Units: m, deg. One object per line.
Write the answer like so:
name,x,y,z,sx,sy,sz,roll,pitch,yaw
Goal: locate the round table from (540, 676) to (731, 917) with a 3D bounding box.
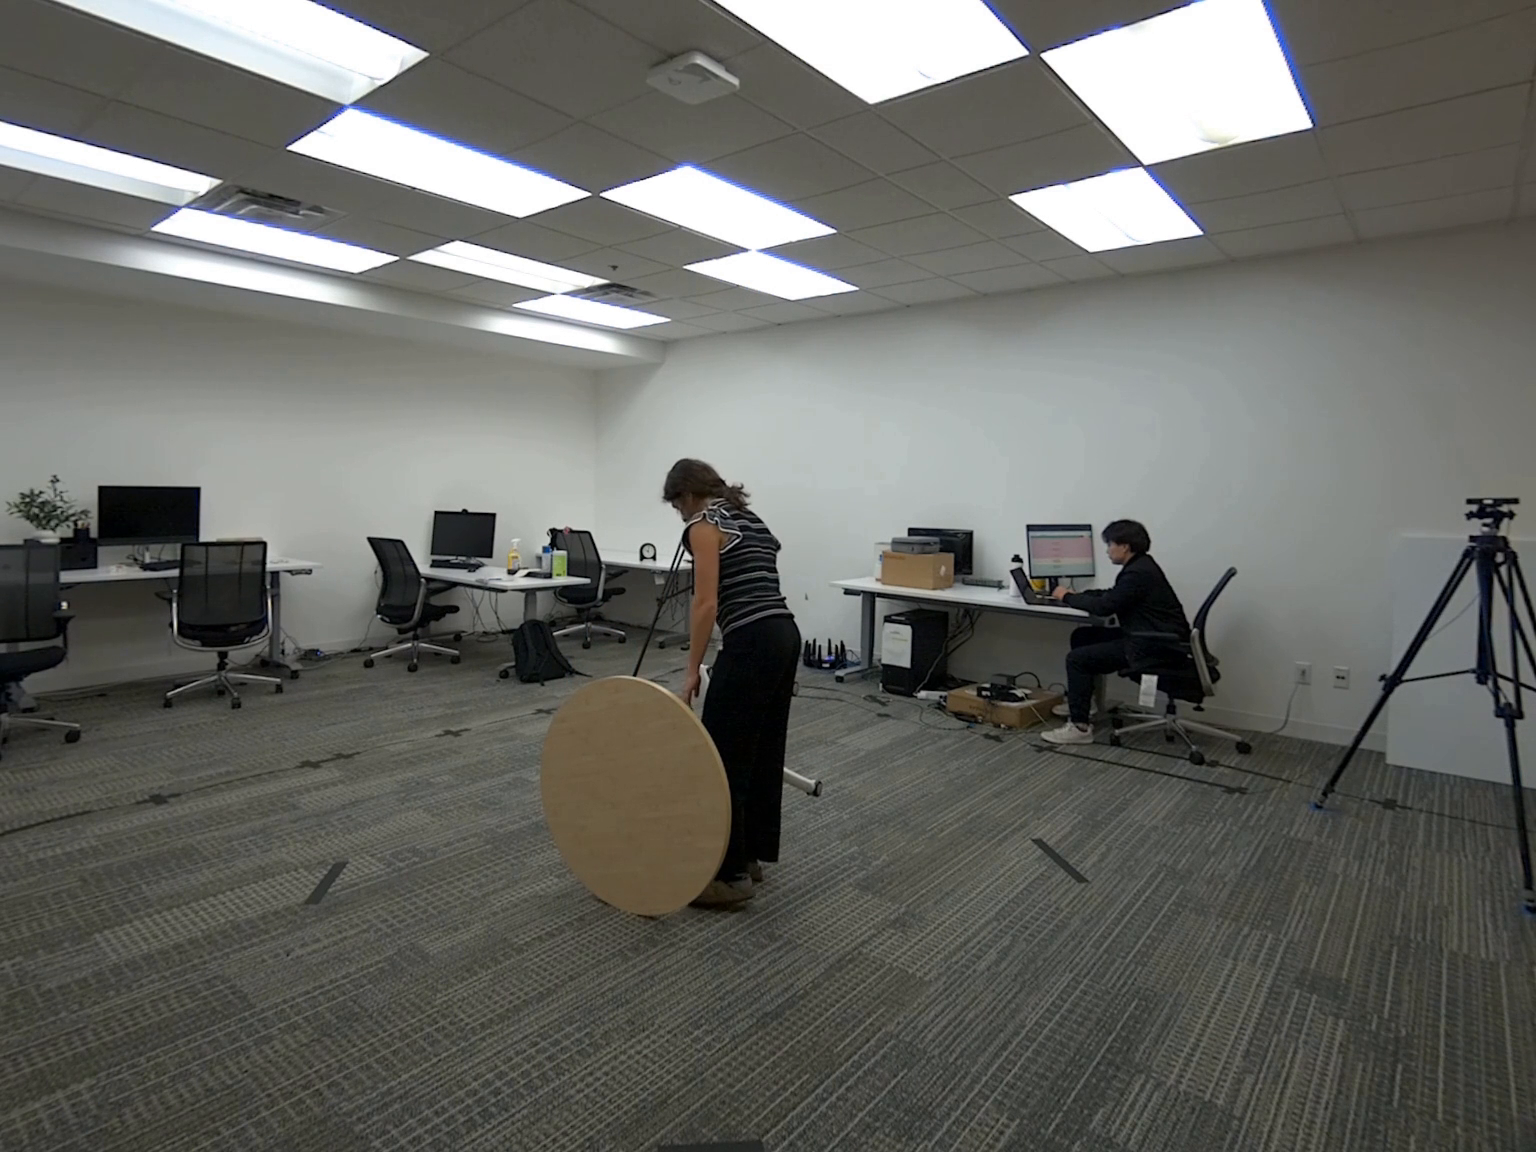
round table,-0.282,0.696,3.107,0.787,0.763,0.772,3,3,31
